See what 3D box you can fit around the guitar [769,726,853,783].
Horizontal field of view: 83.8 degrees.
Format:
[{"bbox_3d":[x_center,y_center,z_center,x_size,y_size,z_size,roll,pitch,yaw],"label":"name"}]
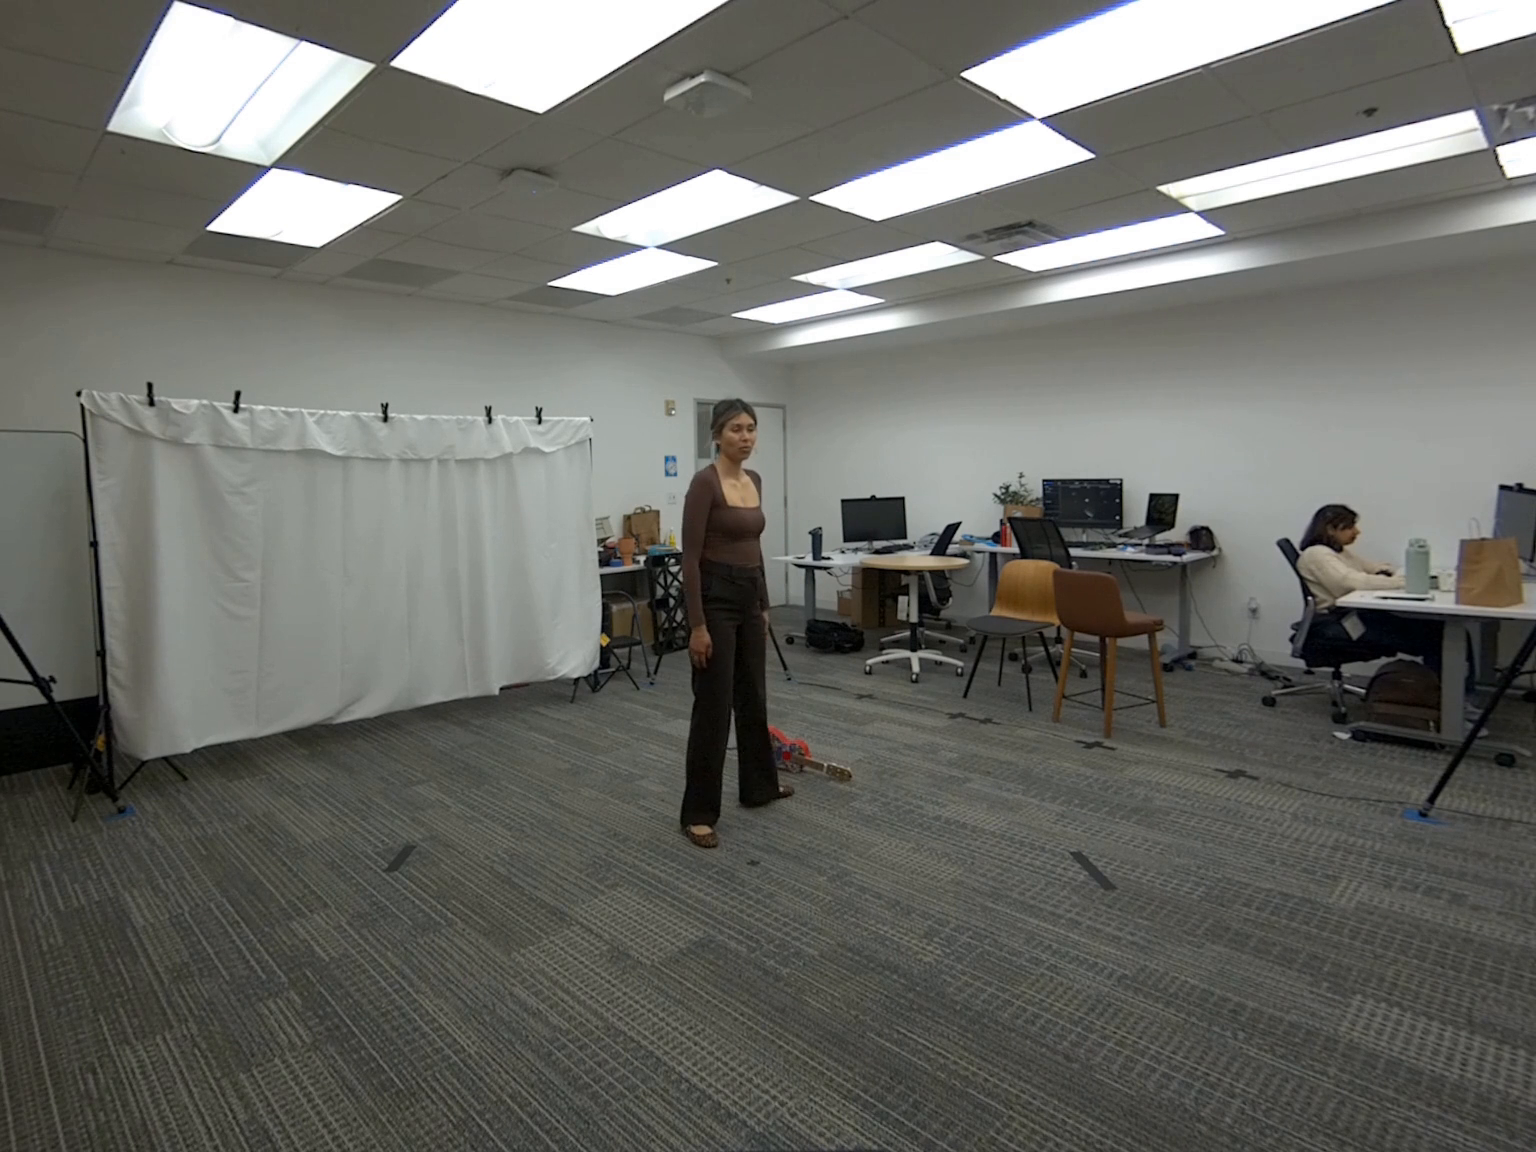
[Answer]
[{"bbox_3d":[0.160,0.894,4.056,0.512,0.191,0.069,22,14,24],"label":"guitar"}]
